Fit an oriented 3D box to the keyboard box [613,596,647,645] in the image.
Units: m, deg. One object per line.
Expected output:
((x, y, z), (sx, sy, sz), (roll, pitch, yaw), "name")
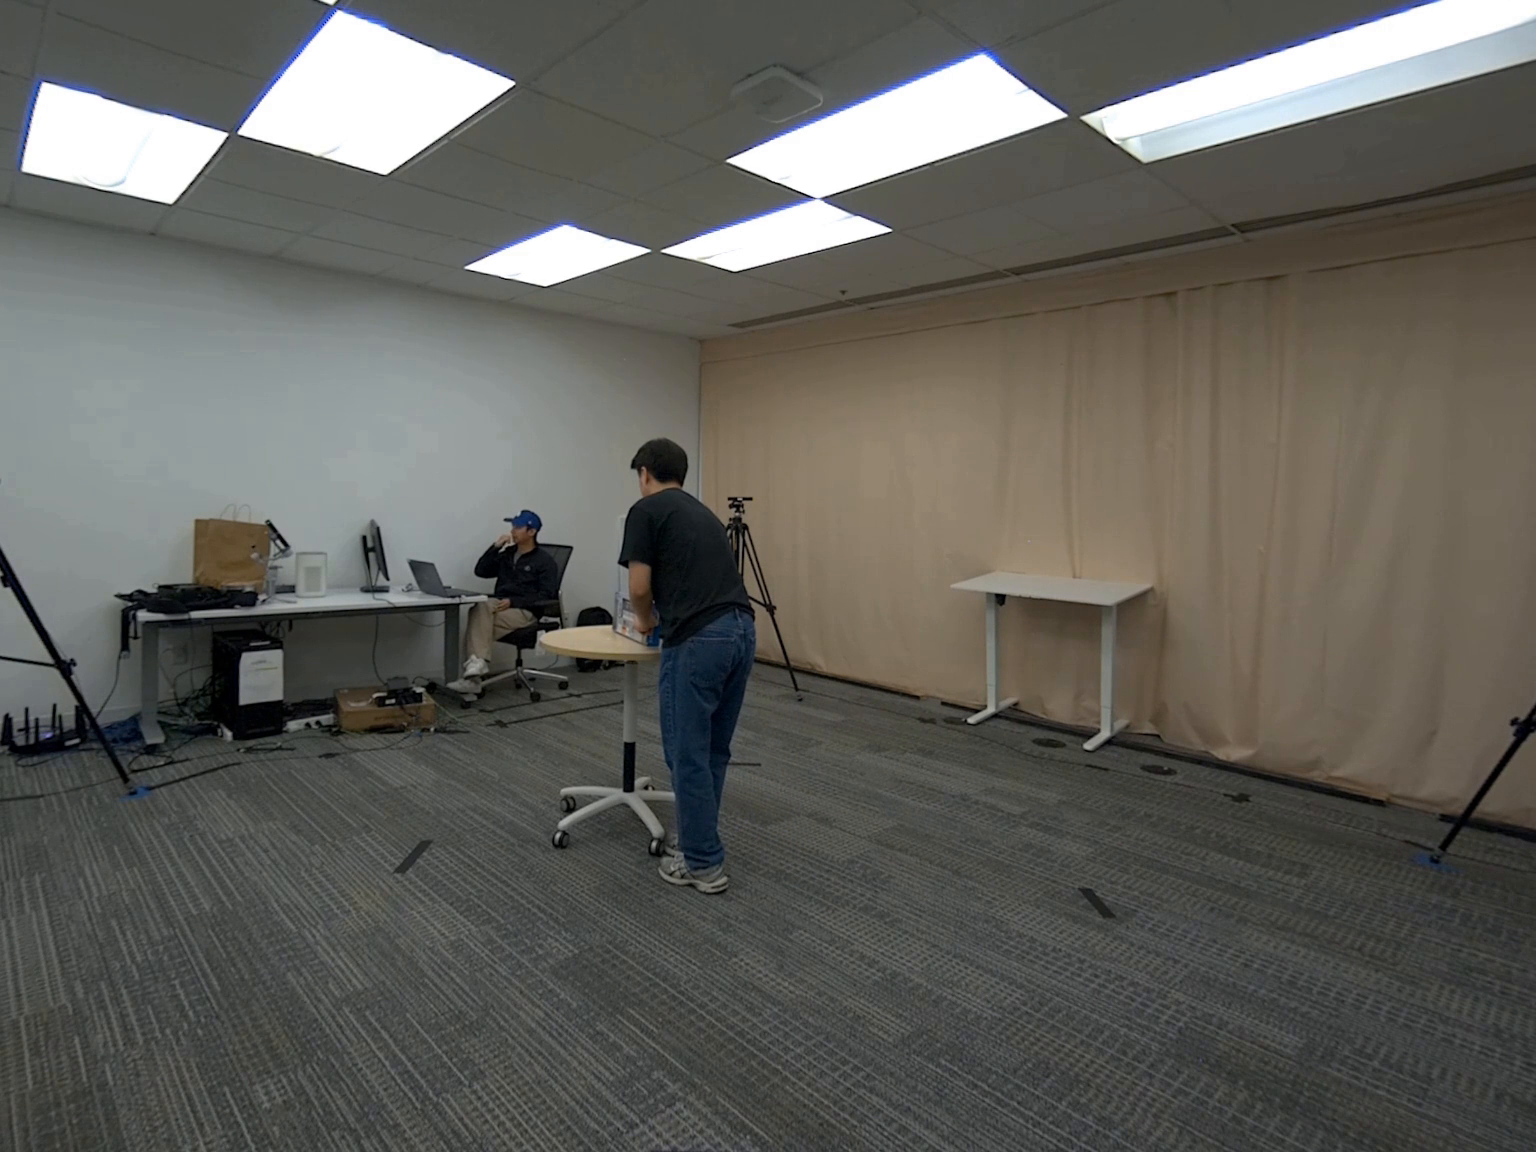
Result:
((-0.563, 0.179, 3.554), (0.058, 0.176, 0.446), (5, 2, -28), "keyboard box")
